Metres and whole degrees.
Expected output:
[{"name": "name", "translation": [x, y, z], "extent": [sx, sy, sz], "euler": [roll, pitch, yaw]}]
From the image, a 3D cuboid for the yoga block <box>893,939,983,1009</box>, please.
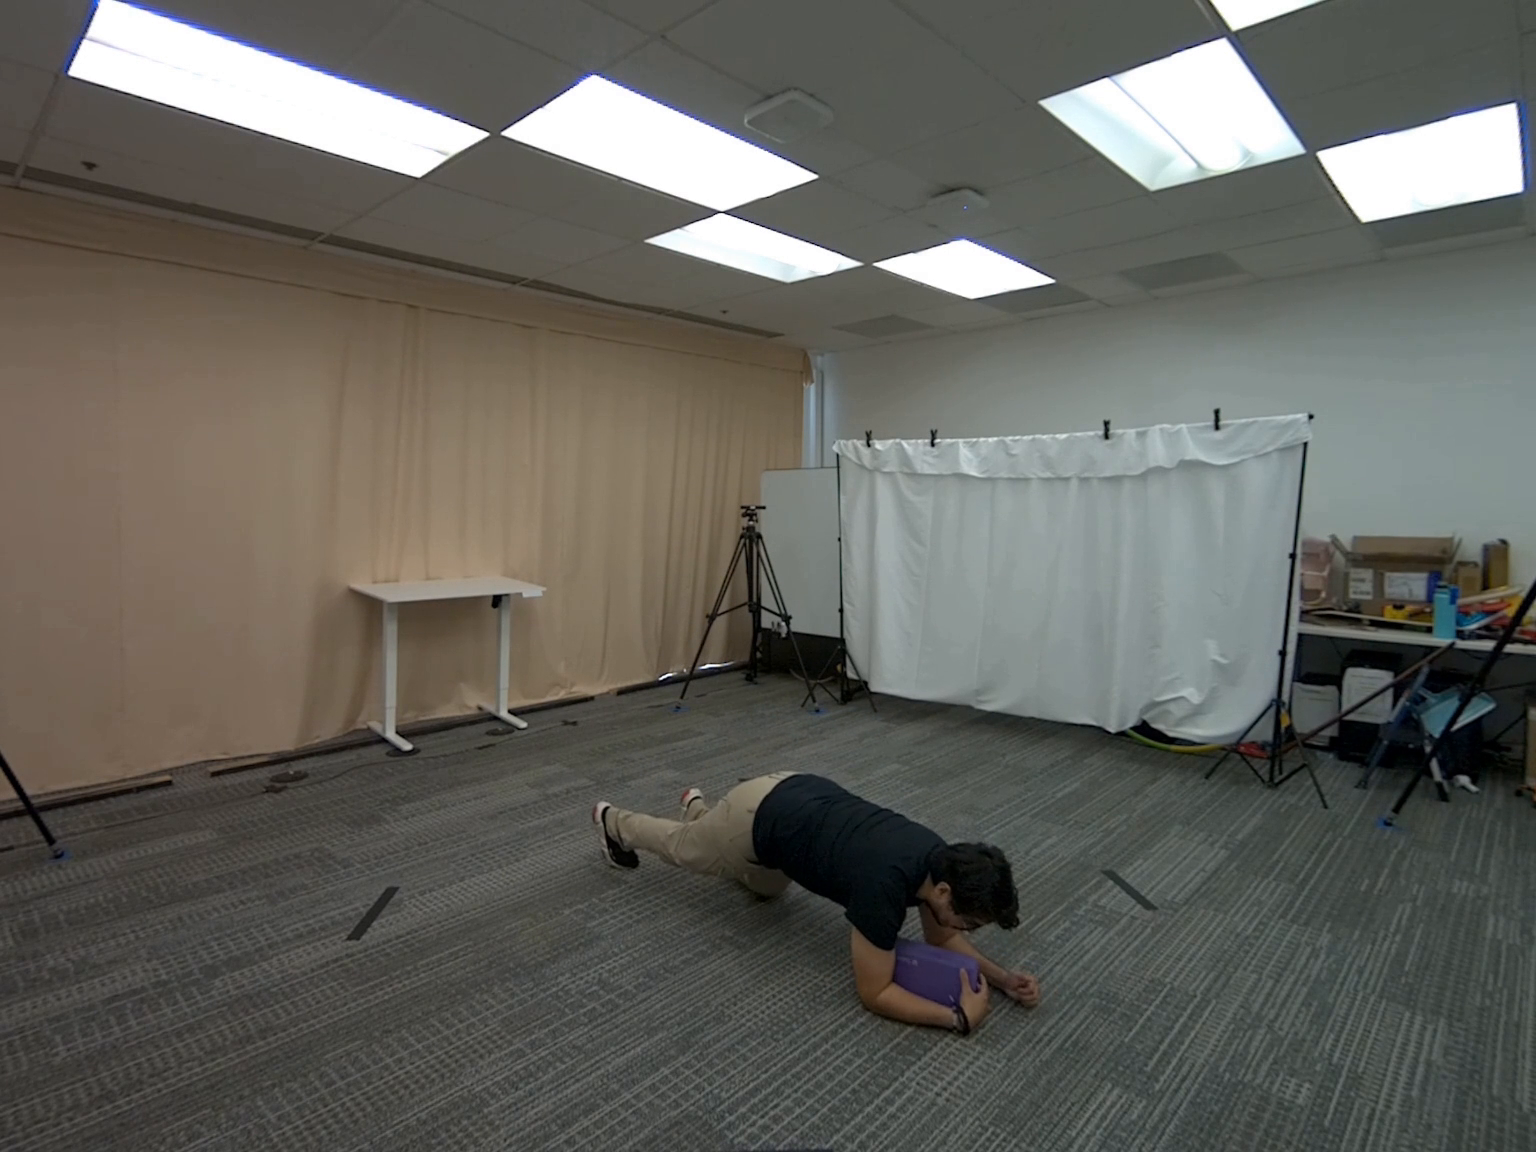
[{"name": "yoga block", "translation": [0.468, 1.120, 2.343], "extent": [0.236, 0.149, 0.074], "euler": [-1, 1, 29]}]
